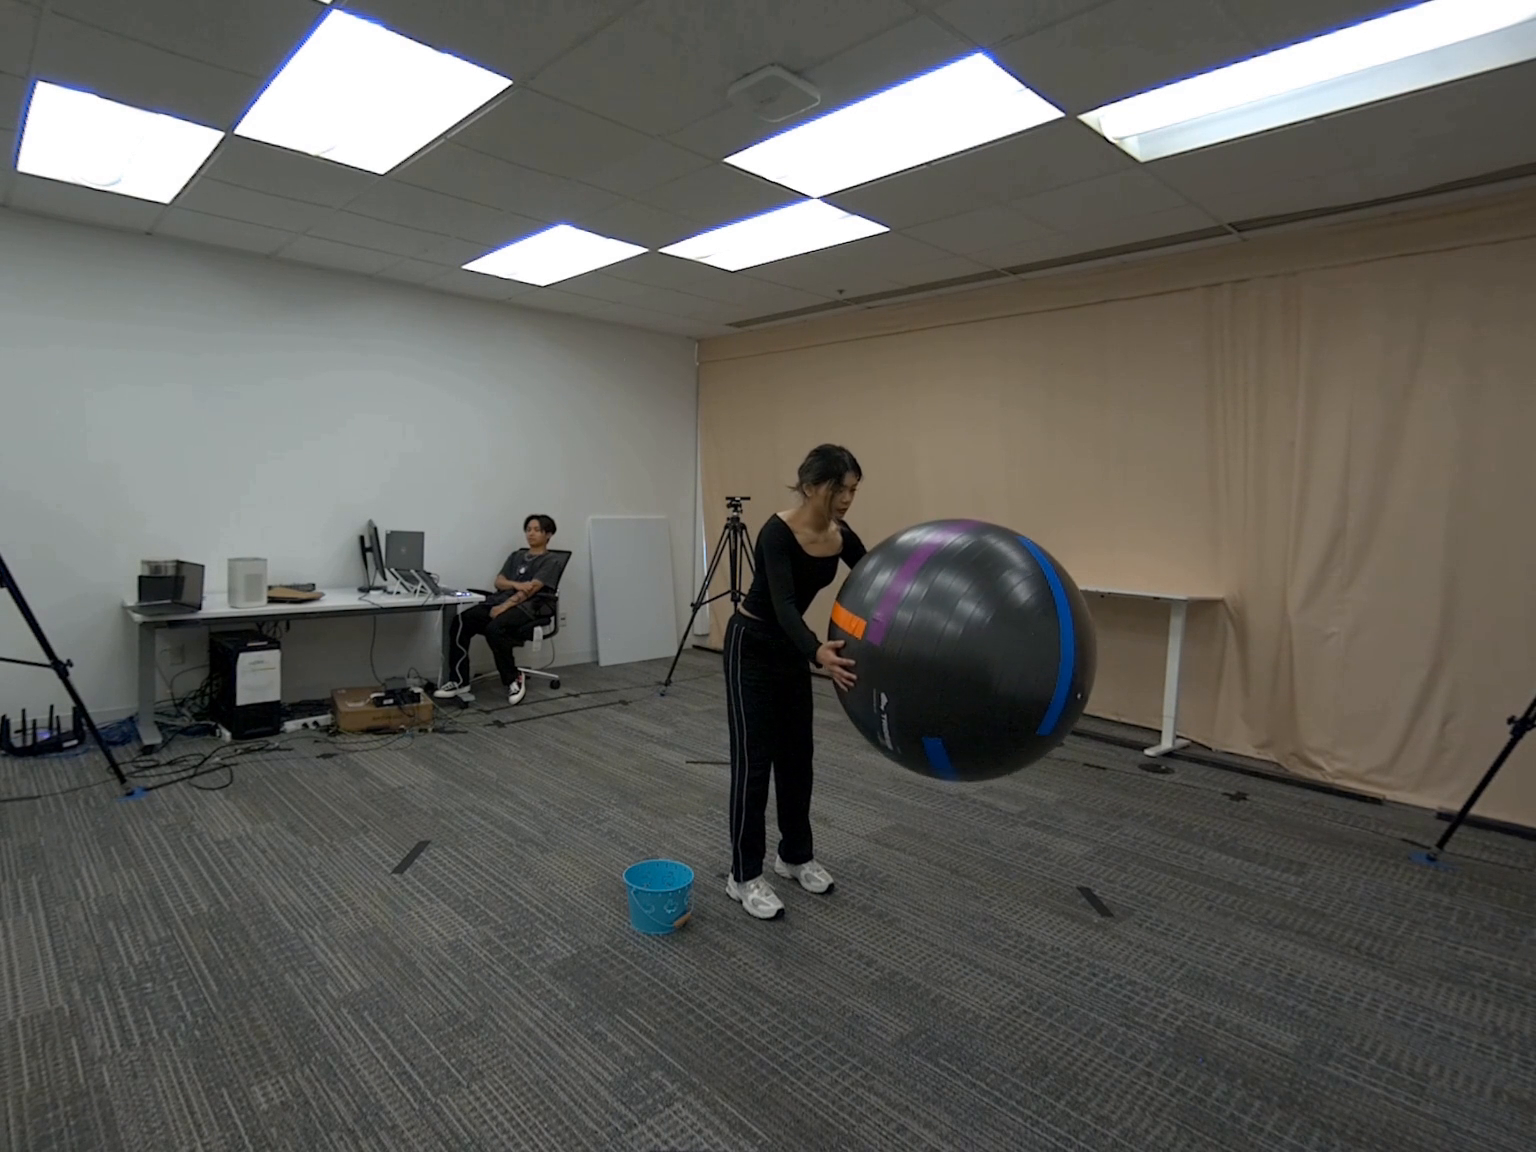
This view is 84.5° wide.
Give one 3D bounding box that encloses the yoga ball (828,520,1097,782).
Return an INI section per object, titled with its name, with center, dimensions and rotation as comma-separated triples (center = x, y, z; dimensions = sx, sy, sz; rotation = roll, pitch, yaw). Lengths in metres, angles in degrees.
[yoga ball]
center = 0.553, 0.217, 2.451
dimensions = 0.757, 0.756, 0.761
rotation = 1, 4, -1
